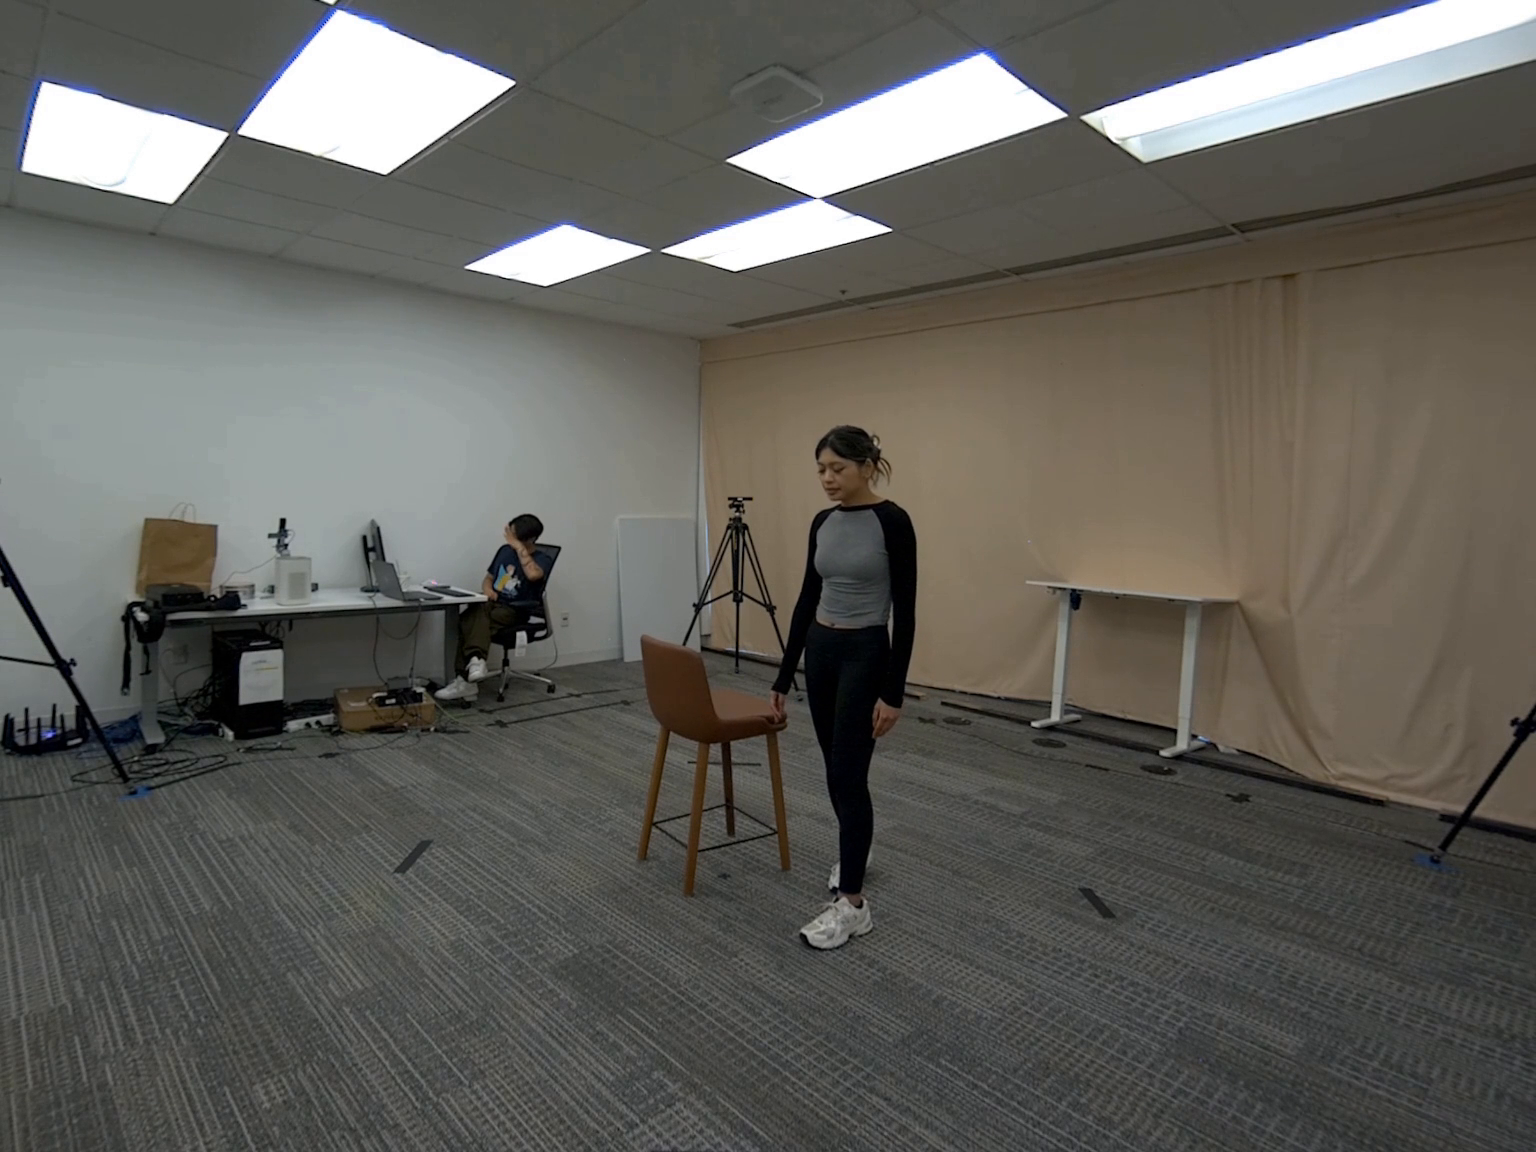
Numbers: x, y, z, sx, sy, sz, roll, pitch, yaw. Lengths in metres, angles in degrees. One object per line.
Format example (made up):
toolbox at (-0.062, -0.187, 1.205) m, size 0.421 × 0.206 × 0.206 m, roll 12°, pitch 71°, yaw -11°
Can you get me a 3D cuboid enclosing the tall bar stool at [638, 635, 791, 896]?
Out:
tall bar stool at (-0.213, 0.662, 3.186) m, size 0.458 × 0.887 × 0.467 m, roll -3°, pitch 5°, yaw -35°
